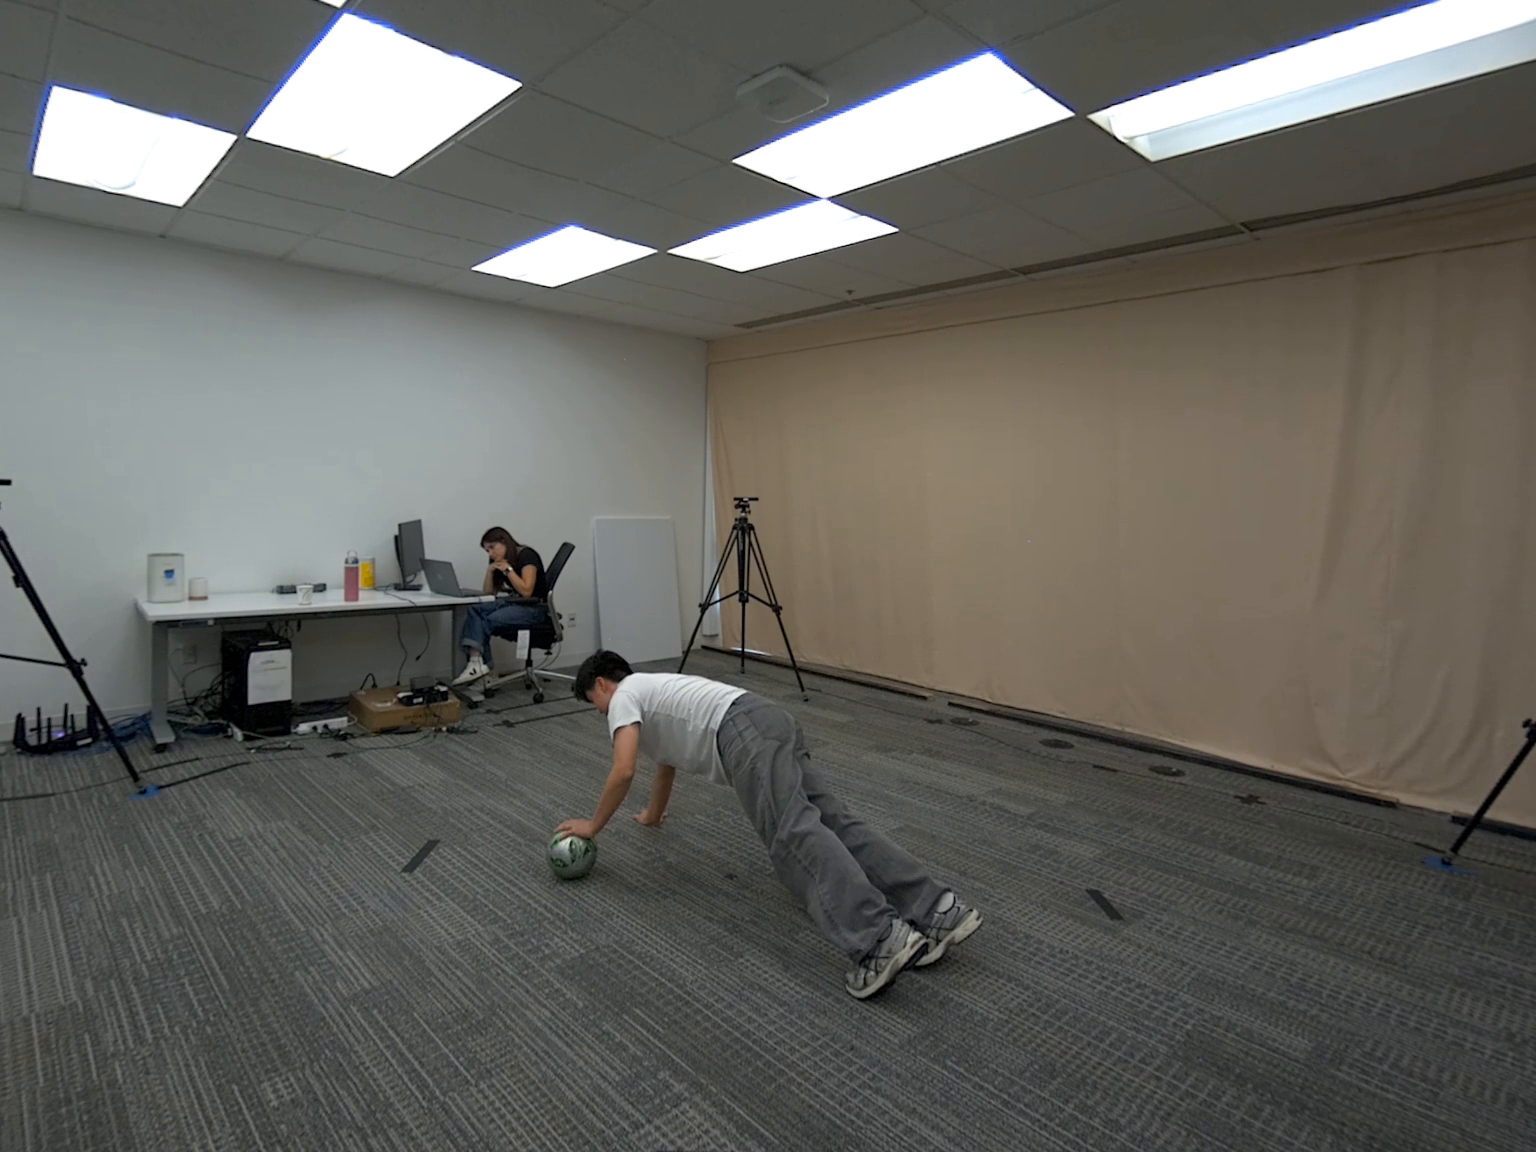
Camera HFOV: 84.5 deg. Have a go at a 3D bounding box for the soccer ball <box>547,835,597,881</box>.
[{"bbox_3d":[-0.718,1.000,3.080,0.187,0.187,0.188,1,4,-1],"label":"soccer ball"}]
